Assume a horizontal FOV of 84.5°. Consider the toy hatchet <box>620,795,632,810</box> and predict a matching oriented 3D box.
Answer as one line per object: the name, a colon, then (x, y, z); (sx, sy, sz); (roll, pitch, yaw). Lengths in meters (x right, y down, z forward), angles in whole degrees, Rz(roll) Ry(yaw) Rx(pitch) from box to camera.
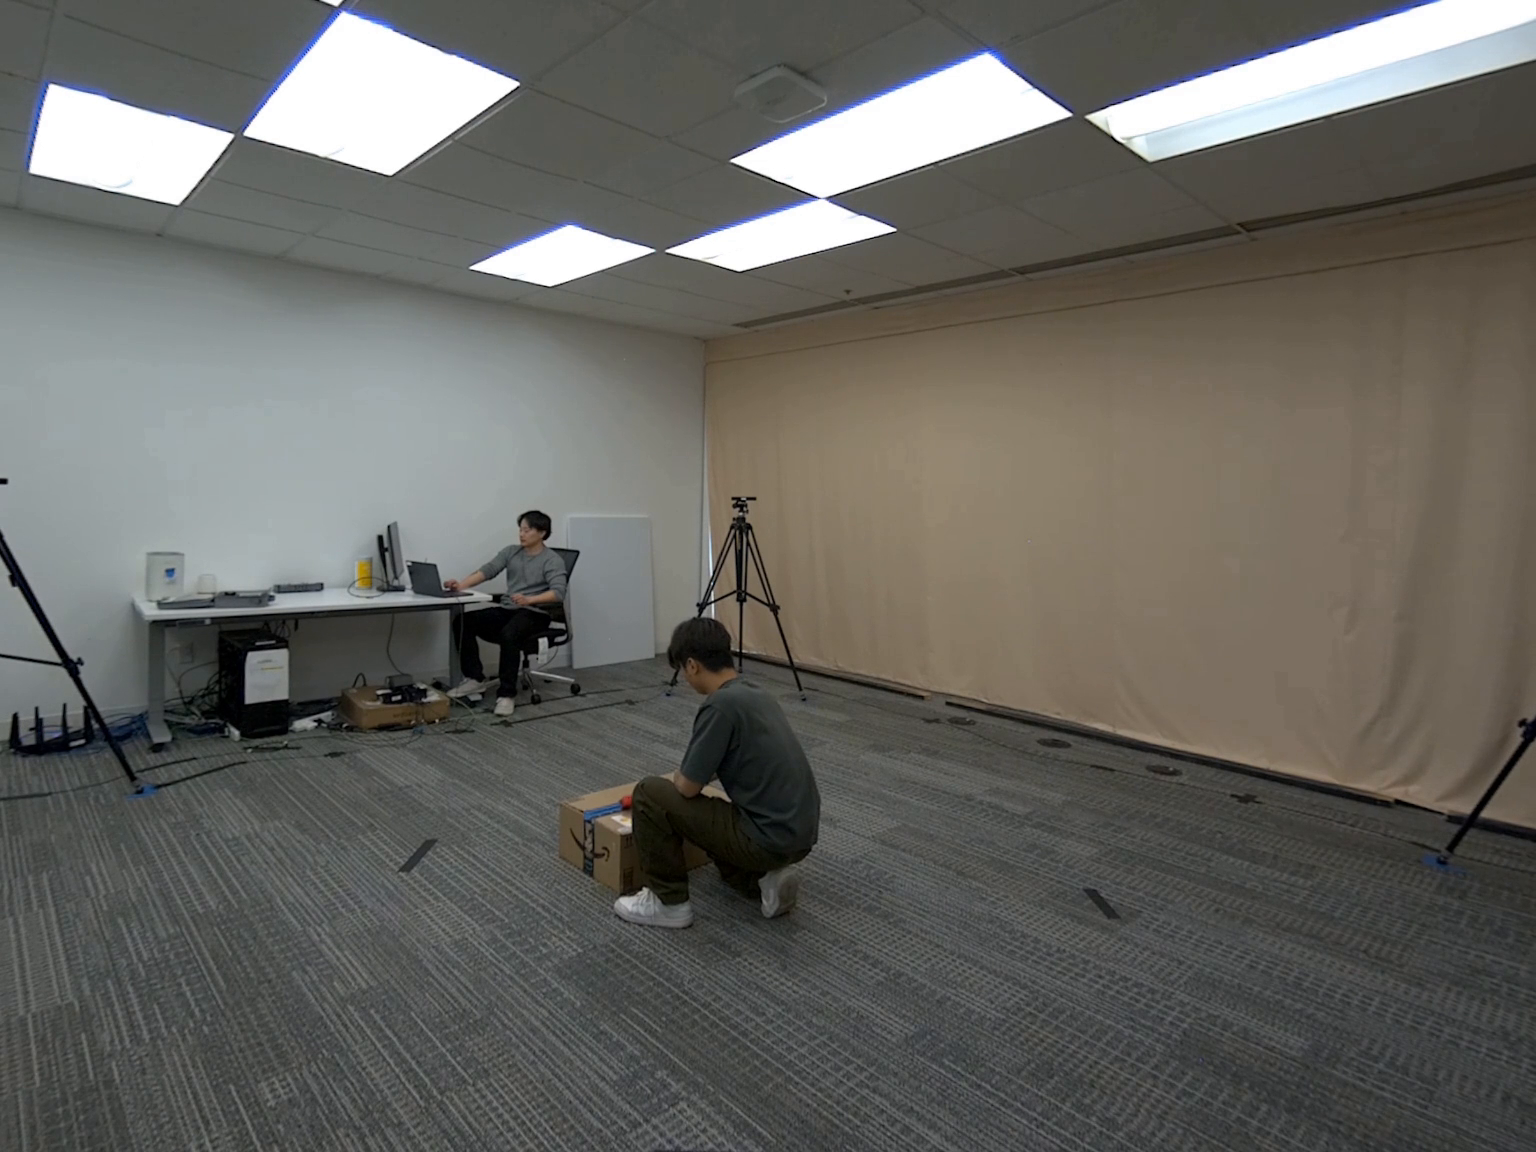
toy hatchet: (-0.443, 0.847, 3.184); (0.263, 0.030, 0.131); (10, -38, -40)
